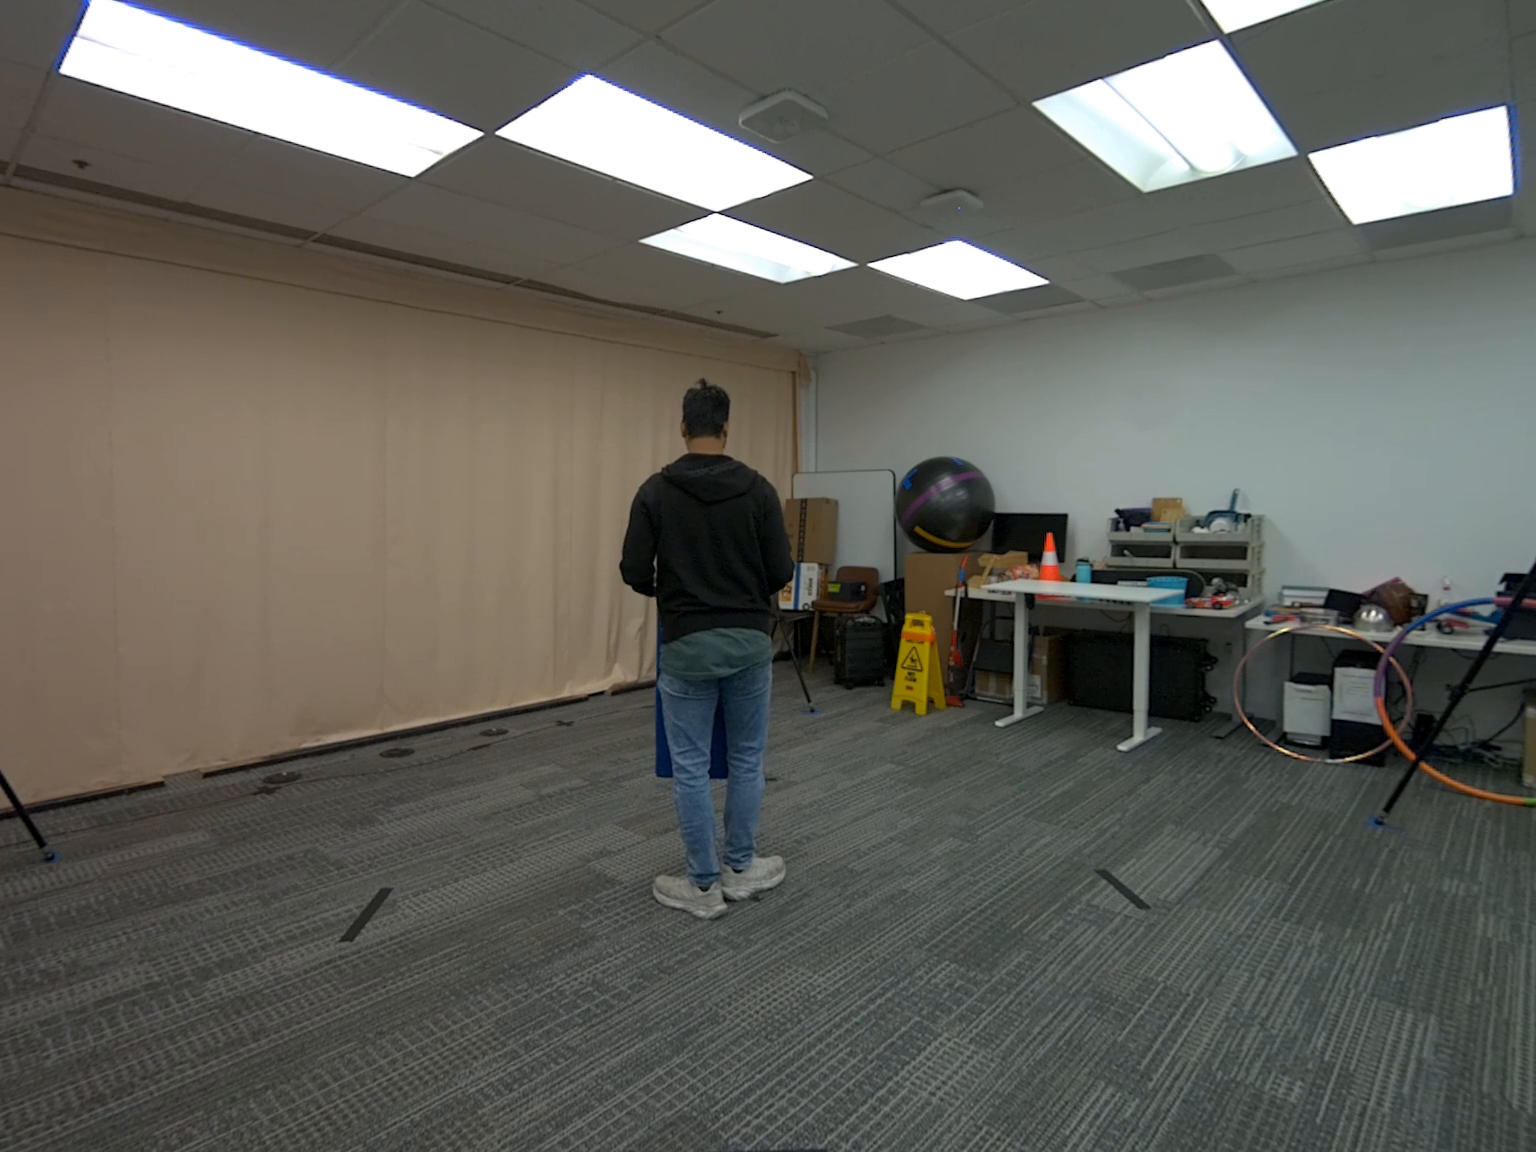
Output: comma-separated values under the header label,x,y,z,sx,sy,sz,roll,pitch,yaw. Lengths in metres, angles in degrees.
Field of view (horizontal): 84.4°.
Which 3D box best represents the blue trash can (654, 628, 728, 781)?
label,x,y,z,sx,sy,sz,roll,pitch,yaw
blue trash can,-0.260,0.382,3.237,0.373,0.712,0.380,2,4,-3
